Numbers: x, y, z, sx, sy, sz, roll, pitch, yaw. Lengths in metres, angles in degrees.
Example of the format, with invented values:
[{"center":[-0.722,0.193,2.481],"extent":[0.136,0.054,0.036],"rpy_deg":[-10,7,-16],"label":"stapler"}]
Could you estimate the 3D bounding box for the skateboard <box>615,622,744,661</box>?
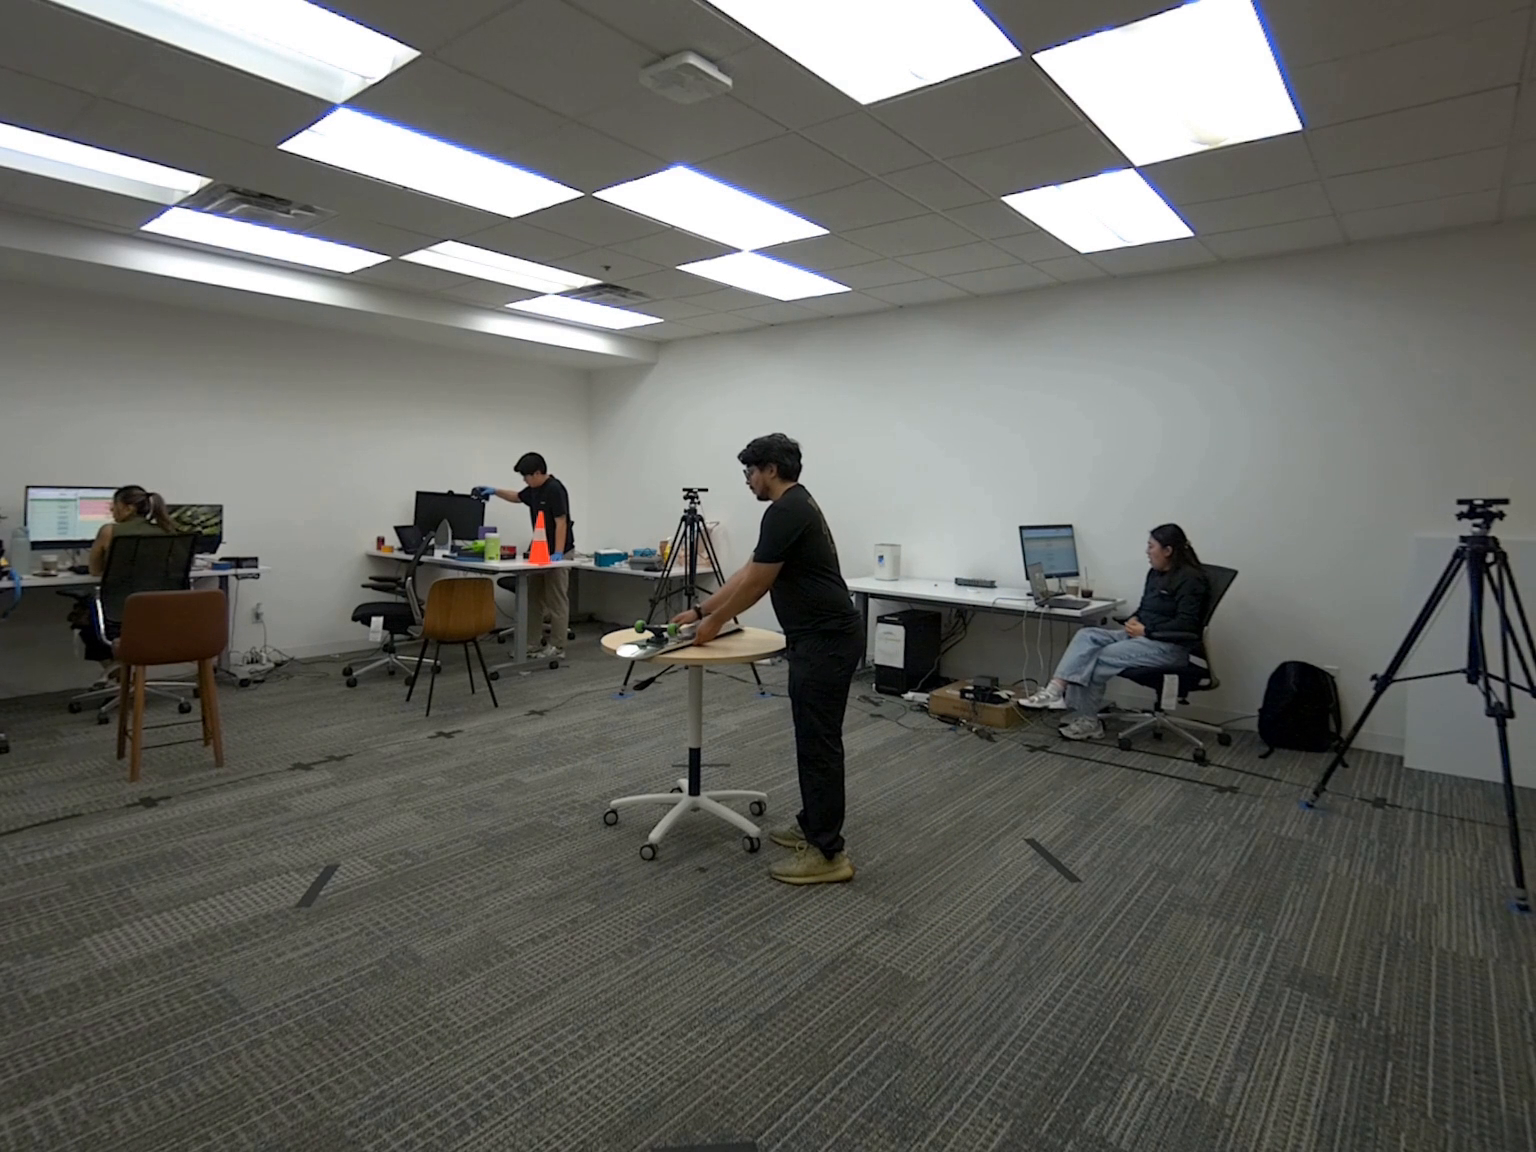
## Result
[{"center":[-0.346,0.209,3.436],"extent":[0.199,0.110,0.766],"rpy_deg":[5,8,31],"label":"skateboard"}]
